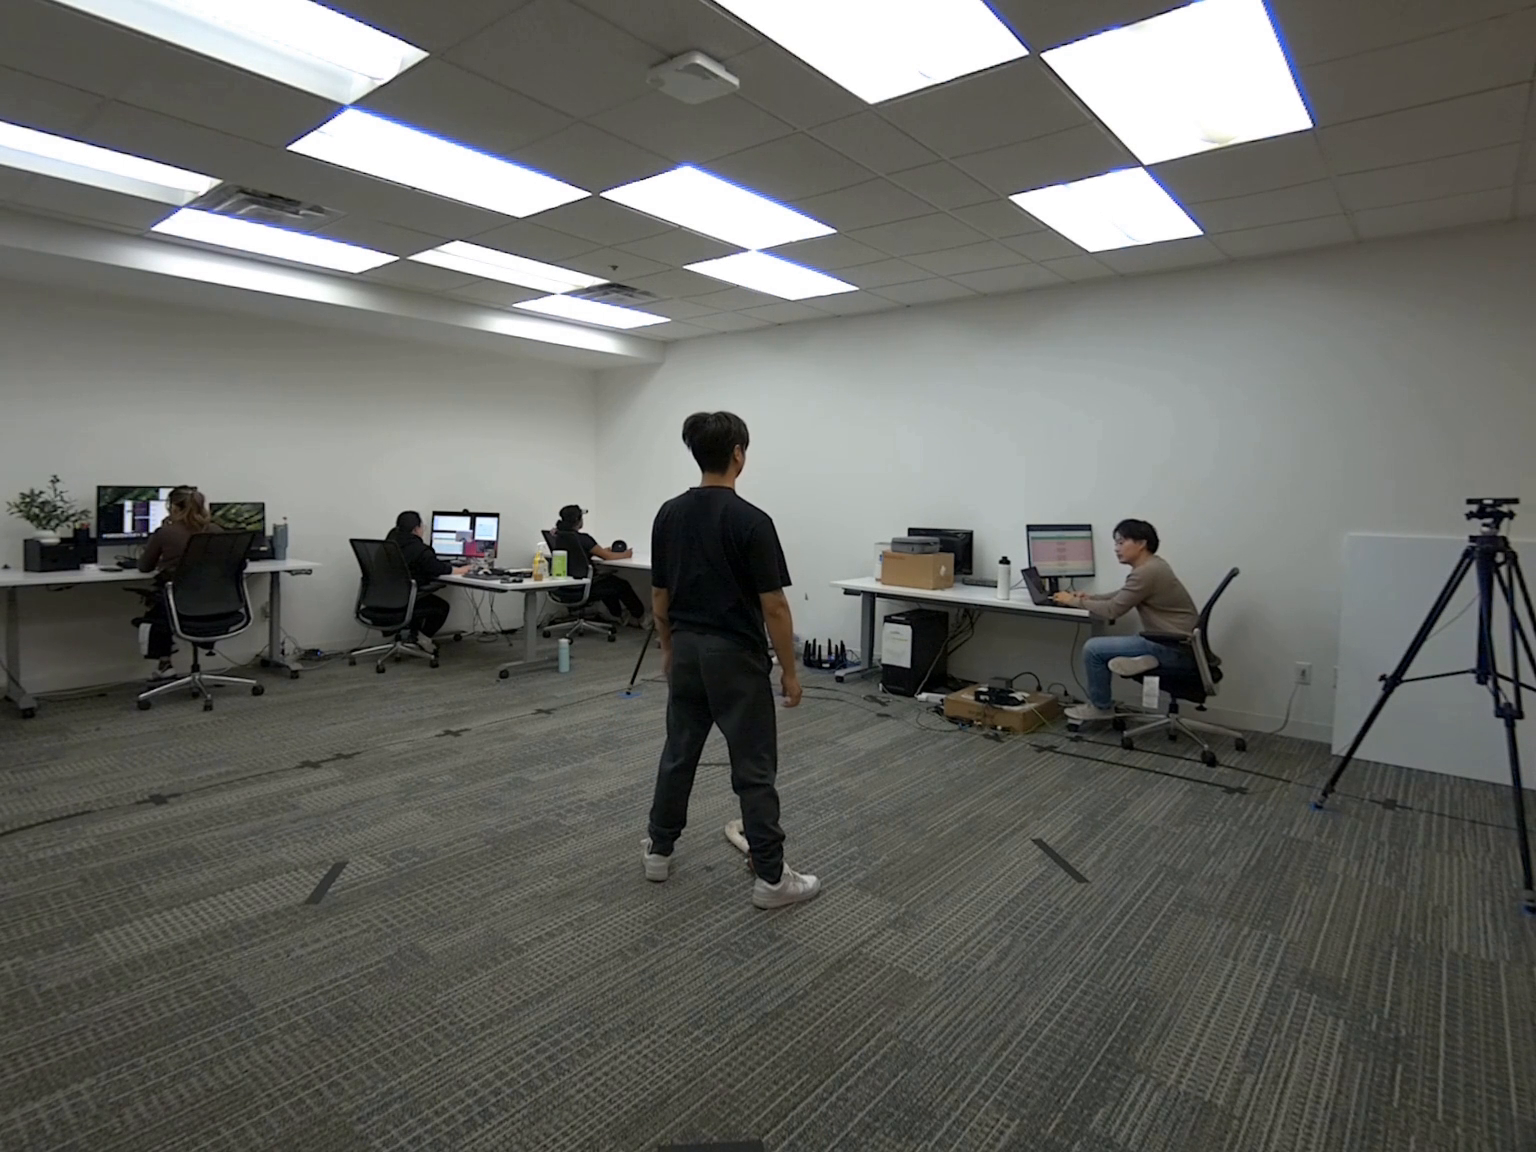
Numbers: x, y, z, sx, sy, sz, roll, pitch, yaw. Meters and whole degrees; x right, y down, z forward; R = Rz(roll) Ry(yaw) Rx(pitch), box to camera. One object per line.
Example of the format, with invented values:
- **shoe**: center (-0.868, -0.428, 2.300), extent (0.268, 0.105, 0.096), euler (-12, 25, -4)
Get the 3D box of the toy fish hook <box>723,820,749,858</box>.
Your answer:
- **toy fish hook**: center (-0.035, 1.026, 3.258), extent (0.222, 0.048, 0.514), euler (-3, 6, -12)
